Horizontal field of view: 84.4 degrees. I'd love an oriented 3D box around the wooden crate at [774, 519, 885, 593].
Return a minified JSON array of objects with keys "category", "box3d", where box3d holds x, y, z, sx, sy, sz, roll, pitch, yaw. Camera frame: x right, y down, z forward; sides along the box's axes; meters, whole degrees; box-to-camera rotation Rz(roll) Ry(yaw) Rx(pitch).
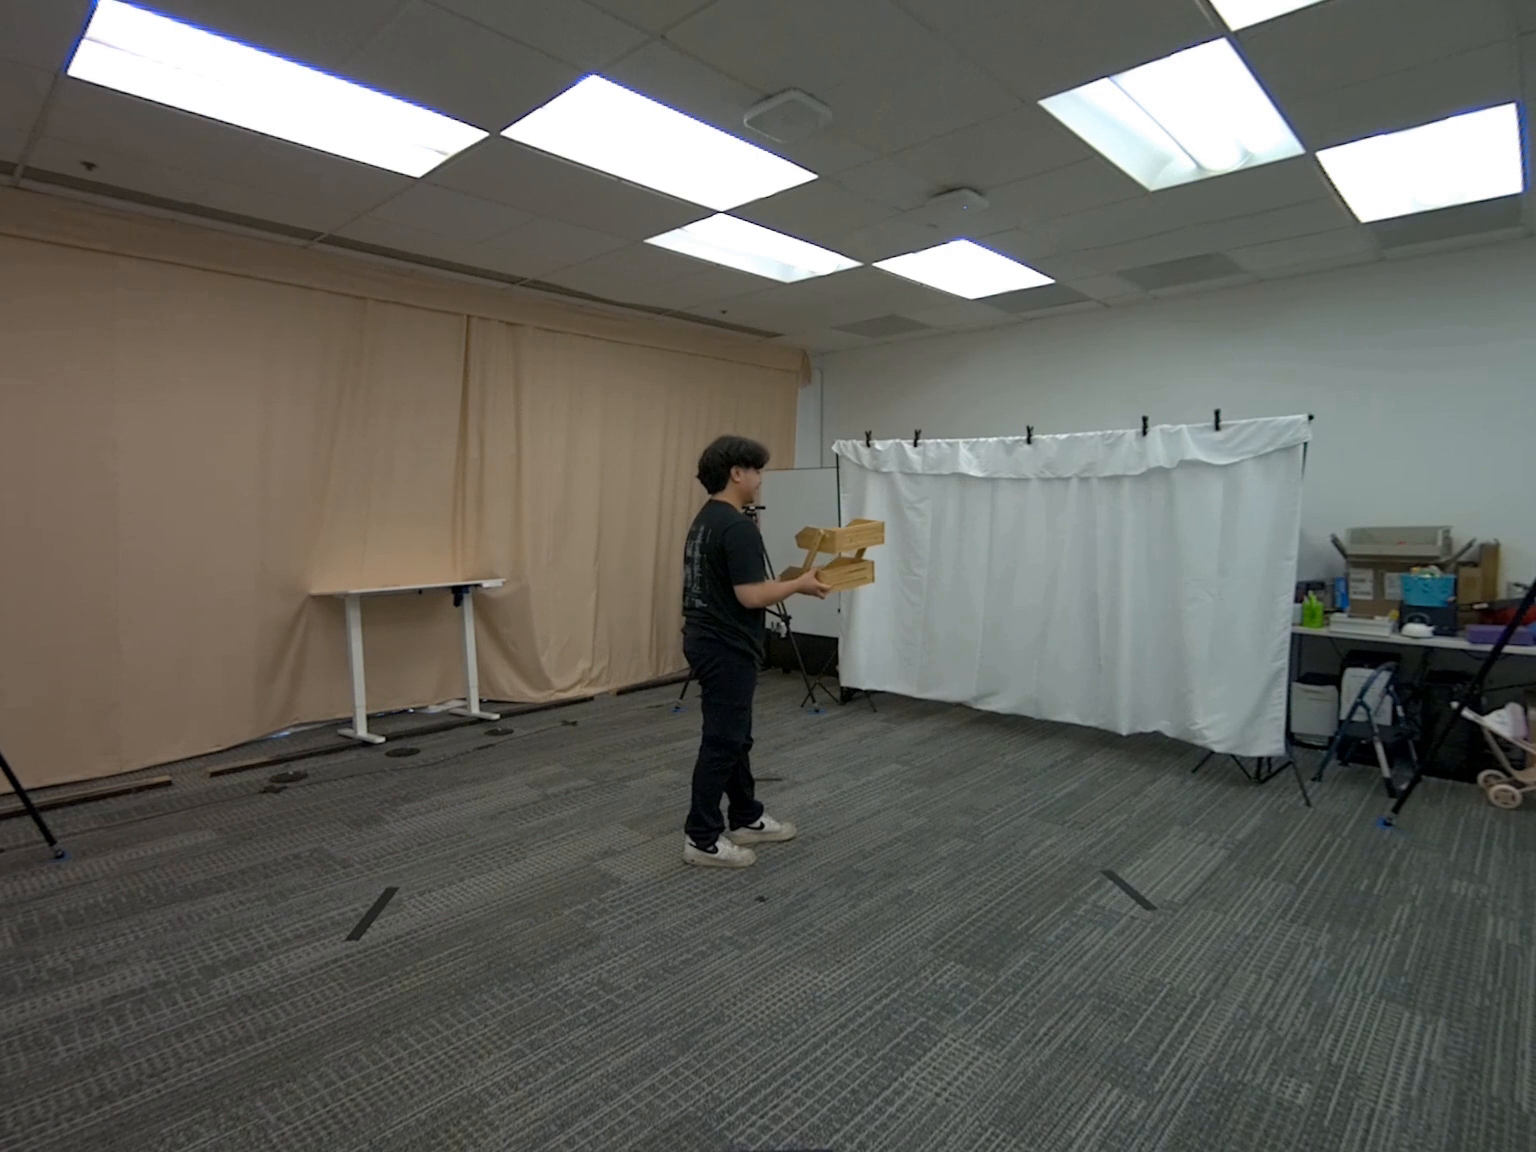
[{"category":"wooden crate","box3d":[0.259,-0.094,3.424,0.315,0.271,0.312,-11,15,-42]}]
